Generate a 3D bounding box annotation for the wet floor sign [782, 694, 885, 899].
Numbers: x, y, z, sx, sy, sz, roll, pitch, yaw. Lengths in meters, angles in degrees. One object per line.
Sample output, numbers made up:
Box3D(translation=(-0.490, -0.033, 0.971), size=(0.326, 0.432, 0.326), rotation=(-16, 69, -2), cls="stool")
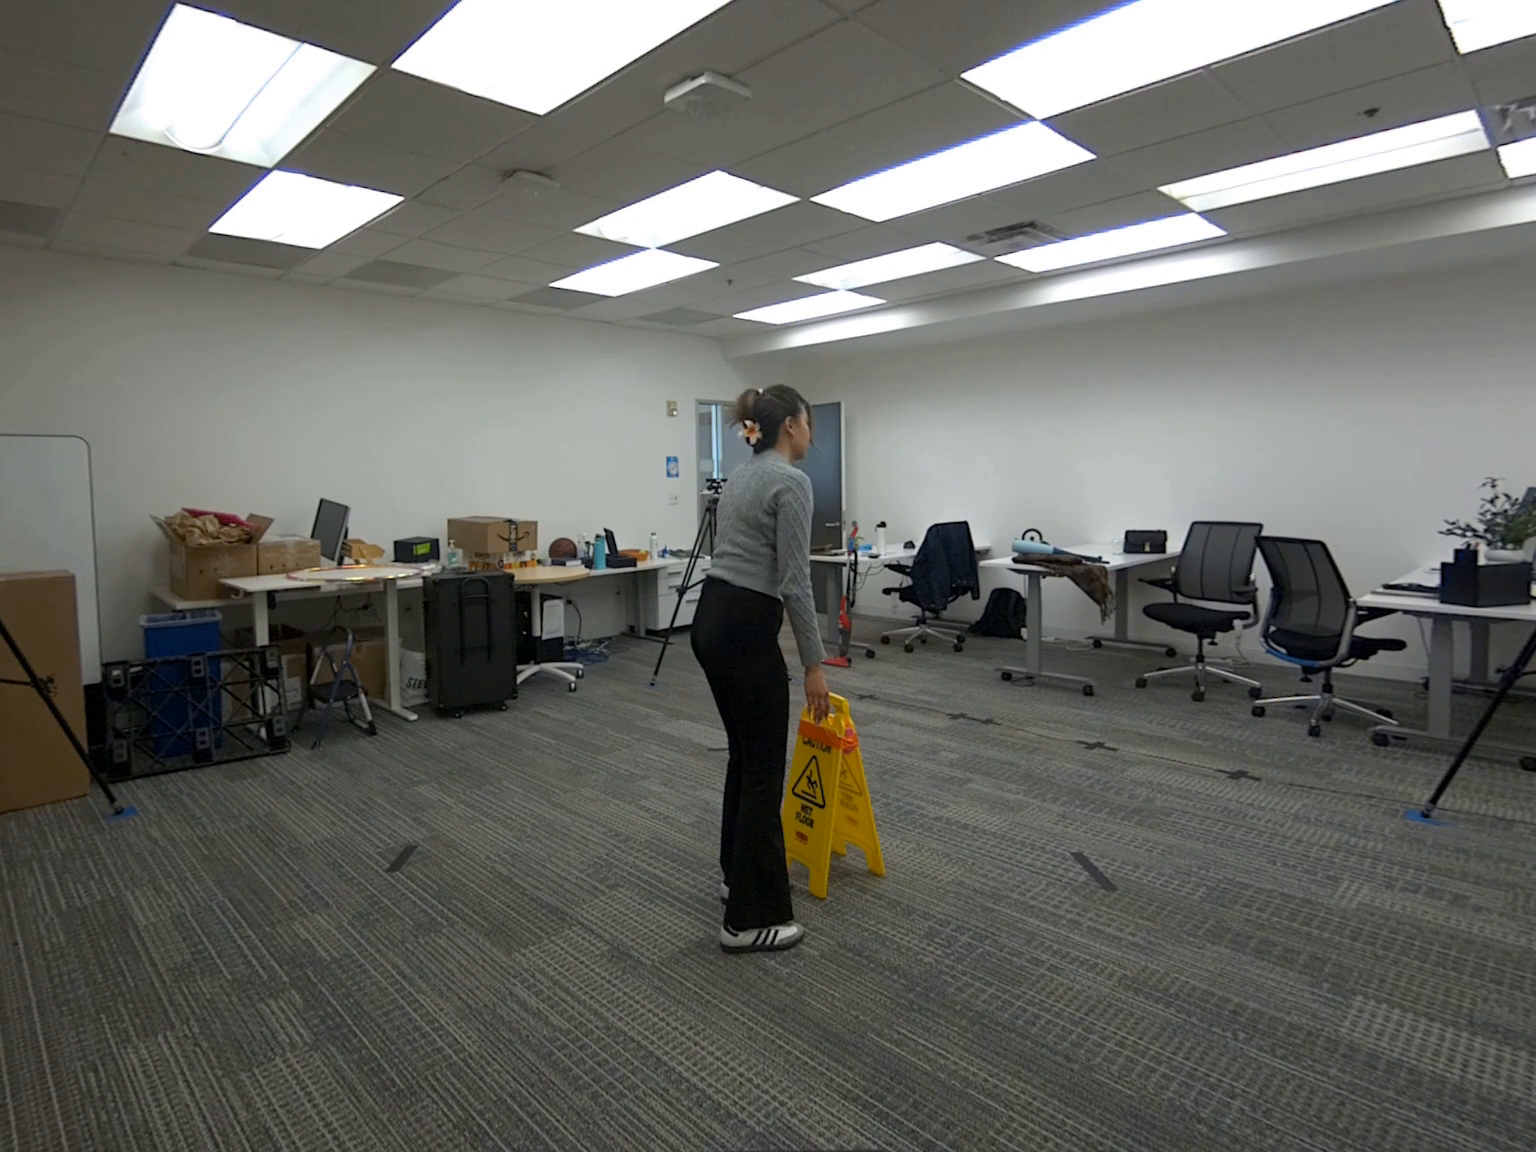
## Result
Box3D(translation=(0.213, 0.728, 3.003), size=(0.282, 0.643, 0.291), rotation=(-3, 6, -36), cls="wet floor sign")
